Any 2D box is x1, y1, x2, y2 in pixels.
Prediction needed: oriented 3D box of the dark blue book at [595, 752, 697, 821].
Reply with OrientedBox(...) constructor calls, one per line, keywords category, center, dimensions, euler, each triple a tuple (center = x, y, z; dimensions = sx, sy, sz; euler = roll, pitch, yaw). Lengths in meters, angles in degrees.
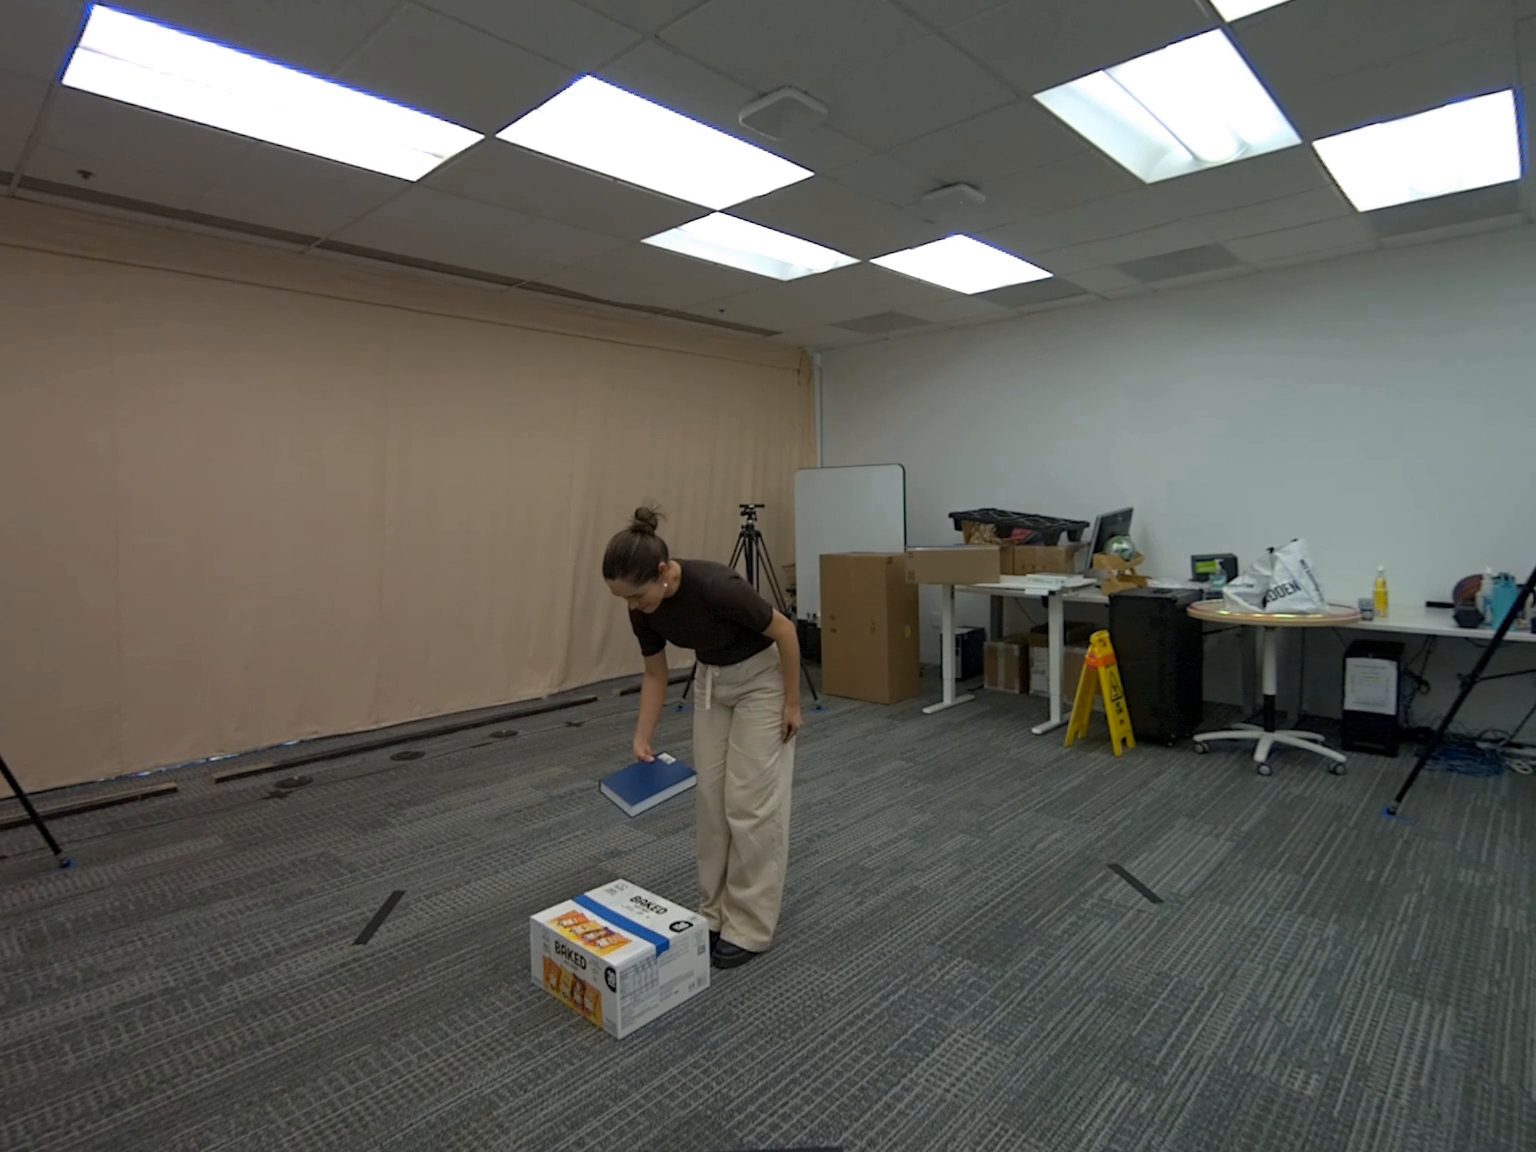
OrientedBox(category="dark blue book", center=(-0.356, 0.608, 2.471), dimensions=(0.239, 0.045, 0.169), euler=(-15, 25, -42))
